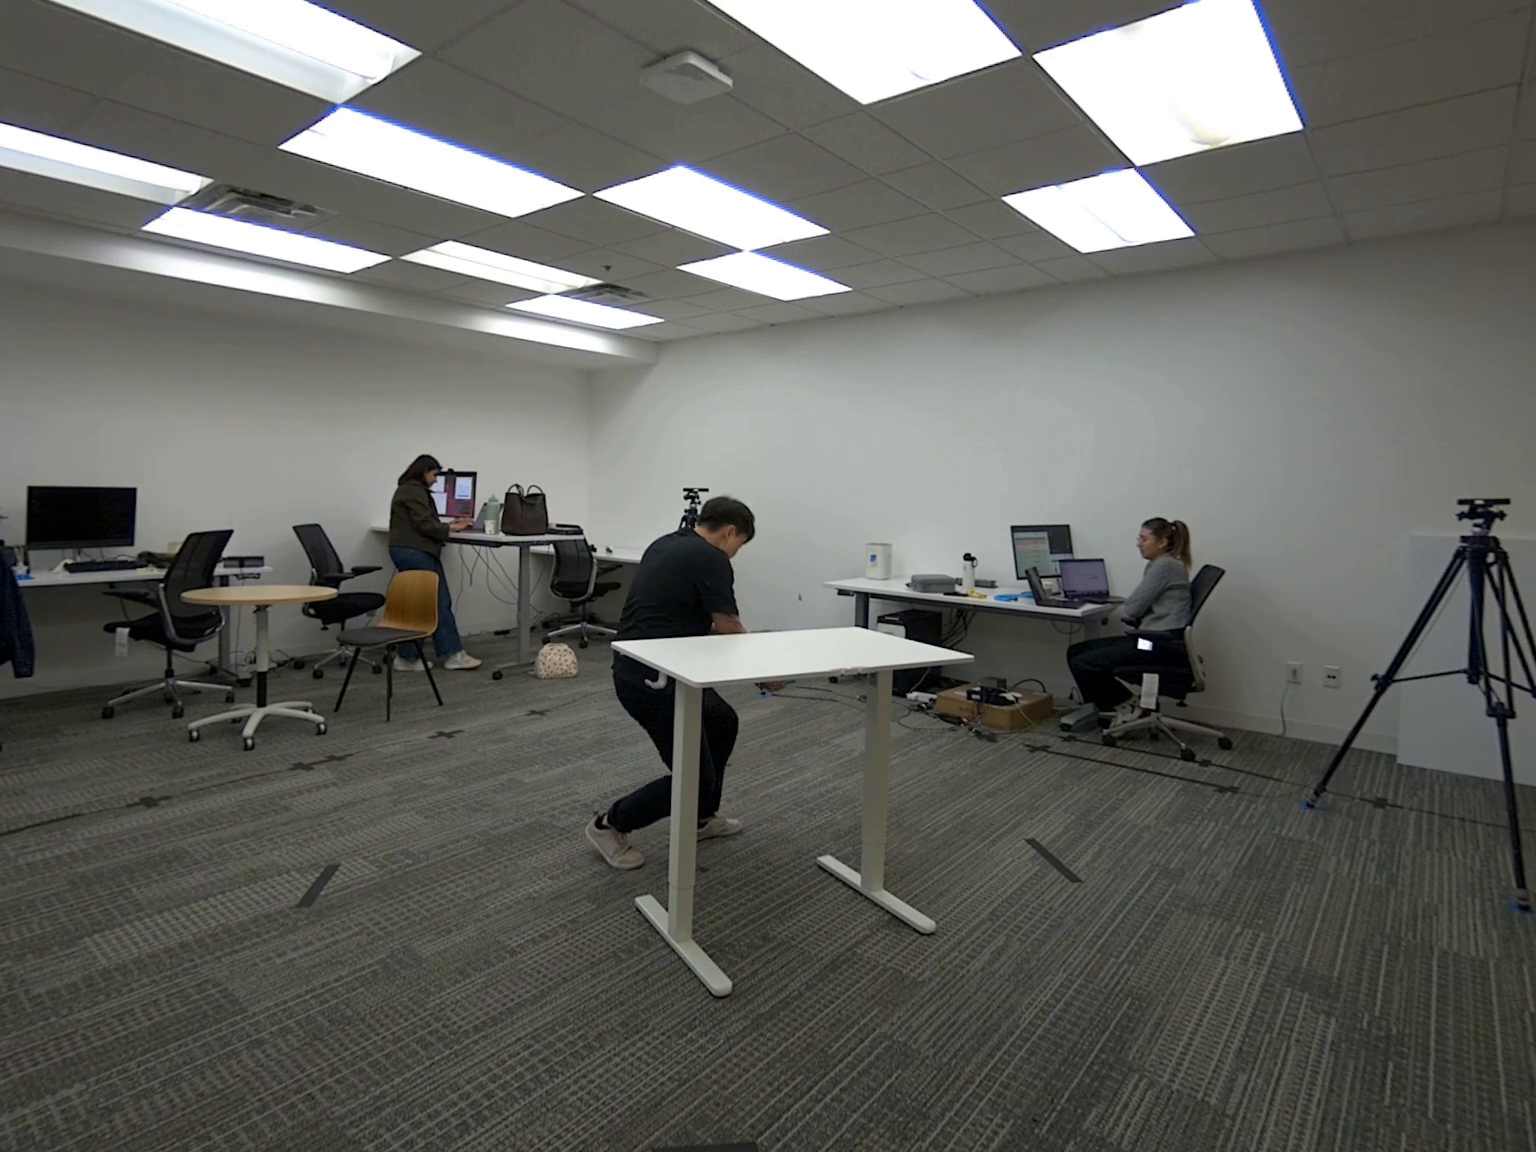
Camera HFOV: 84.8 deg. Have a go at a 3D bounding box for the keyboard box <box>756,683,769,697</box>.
[{"bbox_3d":[-0.084,0.334,3.514,0.171,0.058,0.455,-8,23,-33],"label":"keyboard box"}]
